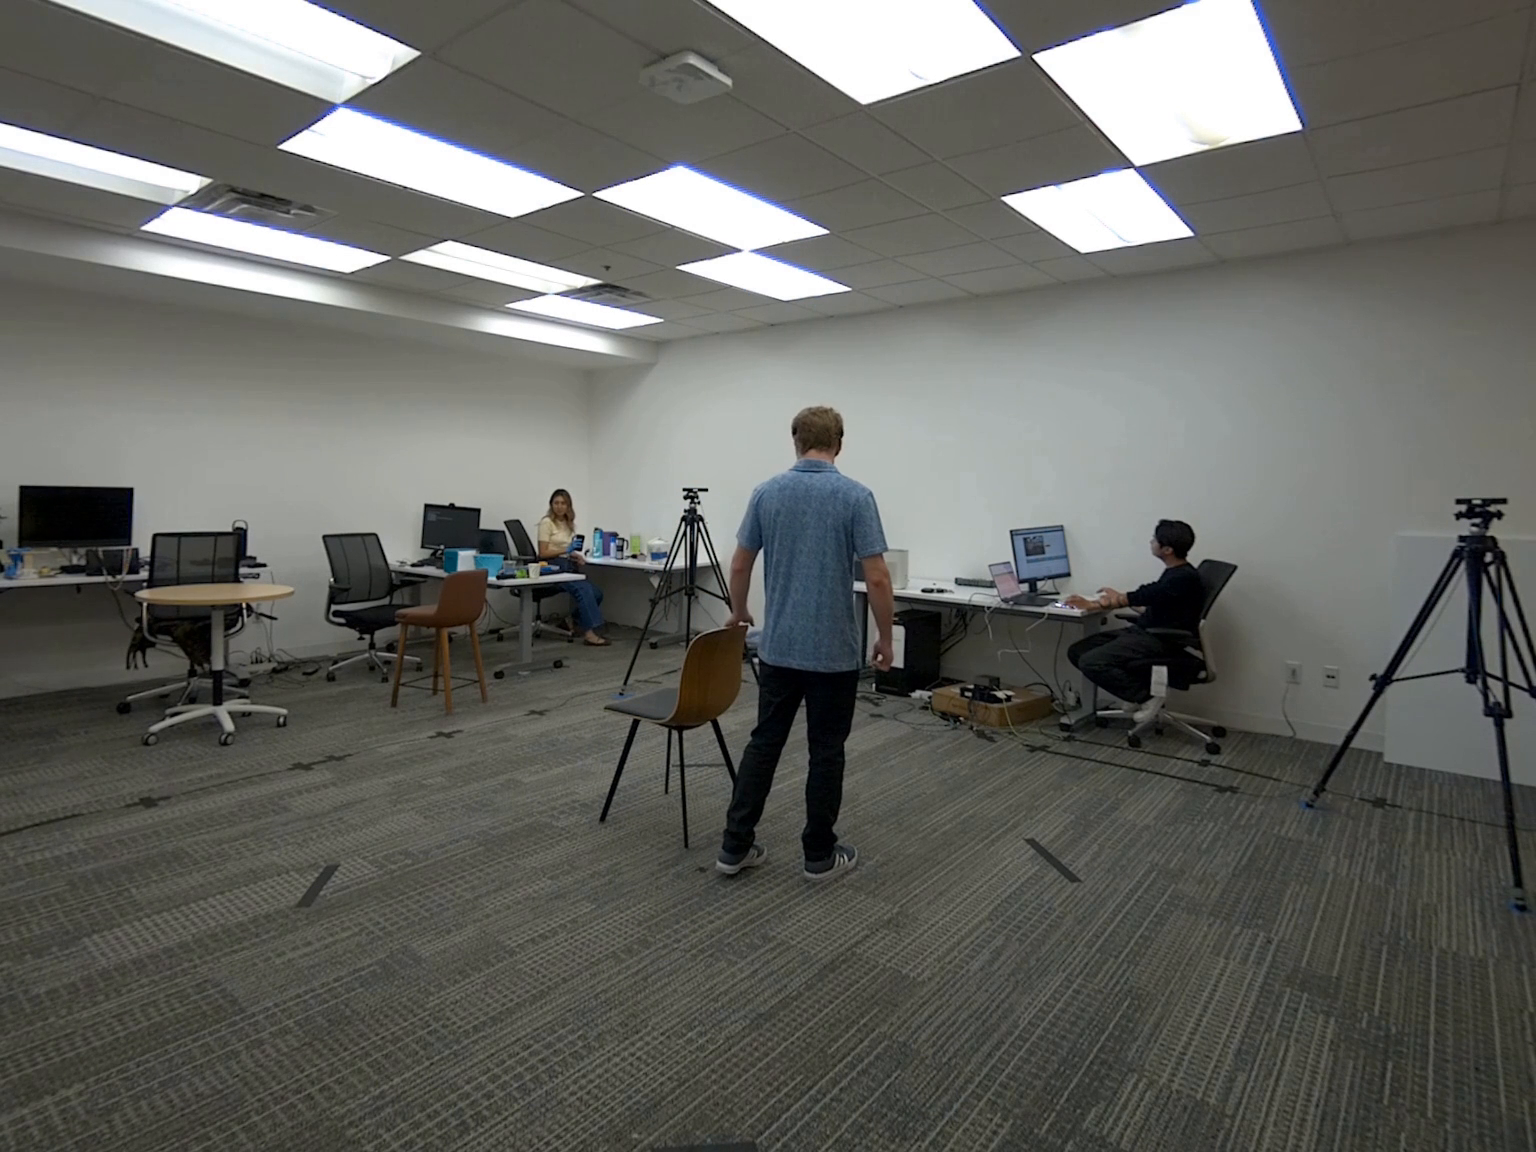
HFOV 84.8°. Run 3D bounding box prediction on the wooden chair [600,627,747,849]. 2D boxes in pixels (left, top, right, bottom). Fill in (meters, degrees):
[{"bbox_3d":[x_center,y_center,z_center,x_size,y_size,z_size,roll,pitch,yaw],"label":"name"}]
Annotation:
[{"bbox_3d":[-0.404,0.593,3.566,0.540,0.873,0.465,9,7,33],"label":"wooden chair"}]
